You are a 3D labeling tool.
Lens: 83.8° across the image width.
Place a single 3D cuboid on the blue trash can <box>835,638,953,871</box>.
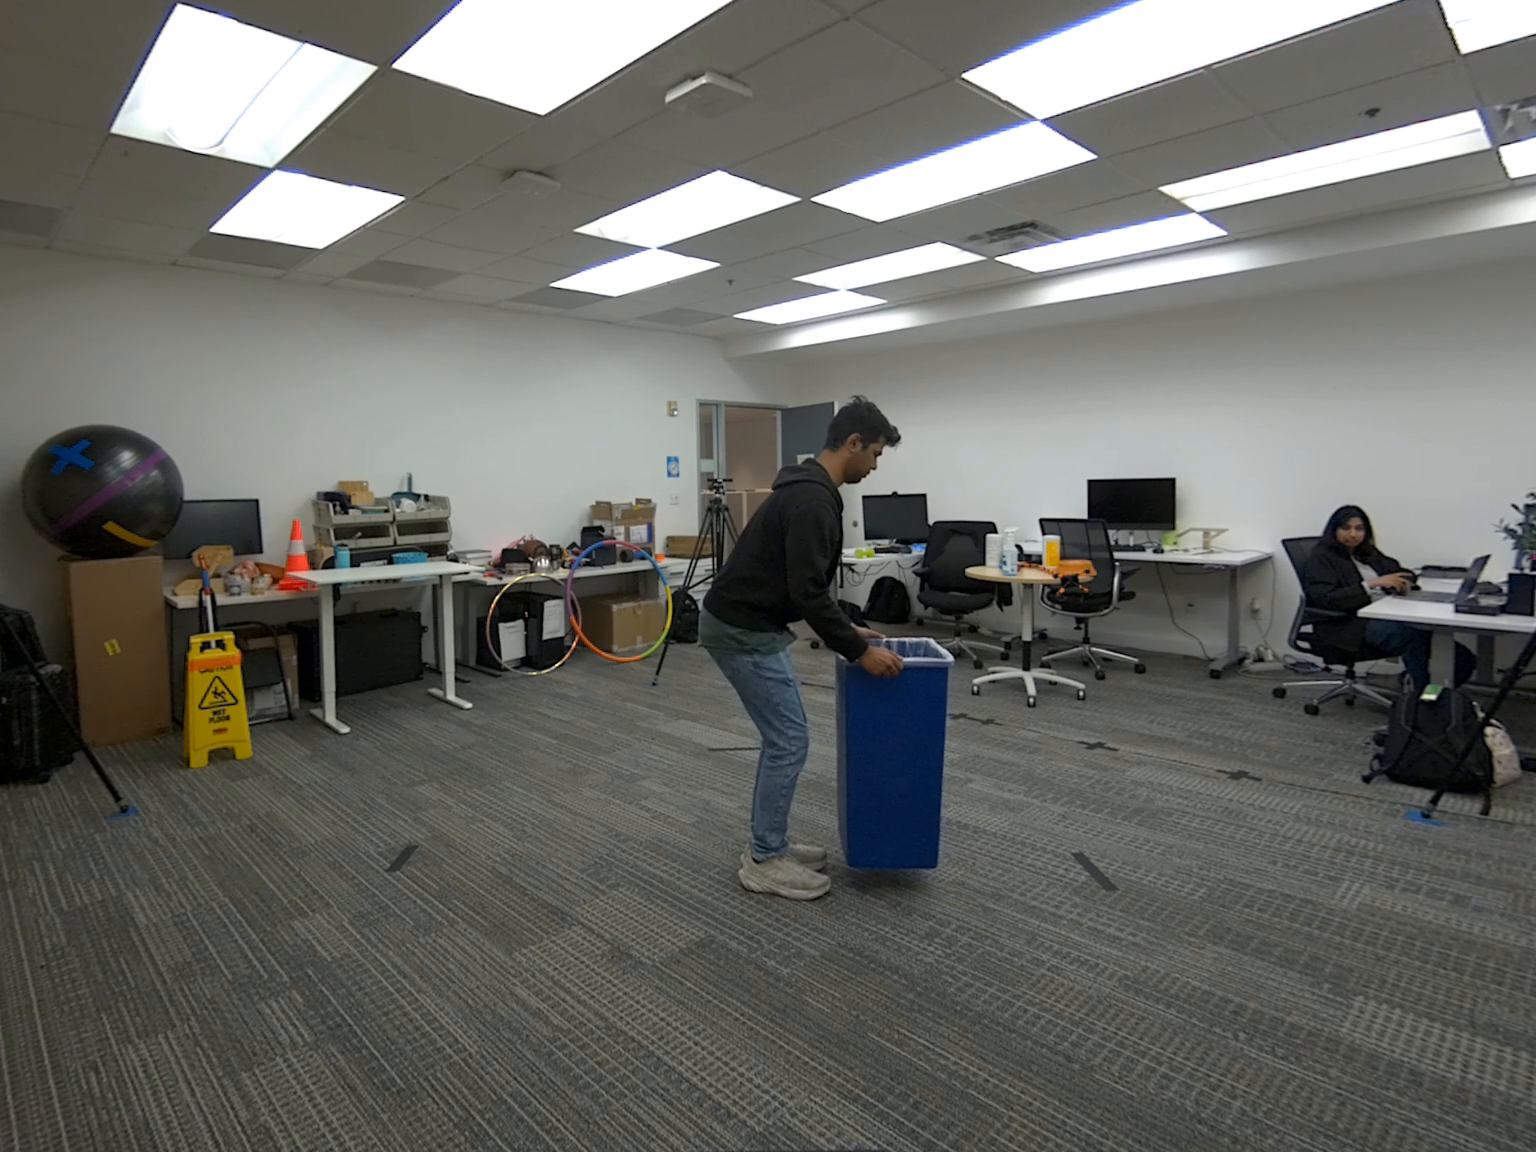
[{"bbox_3d":[0.417,0.600,2.960,0.379,0.711,0.374,0,4,2],"label":"blue trash can"}]
